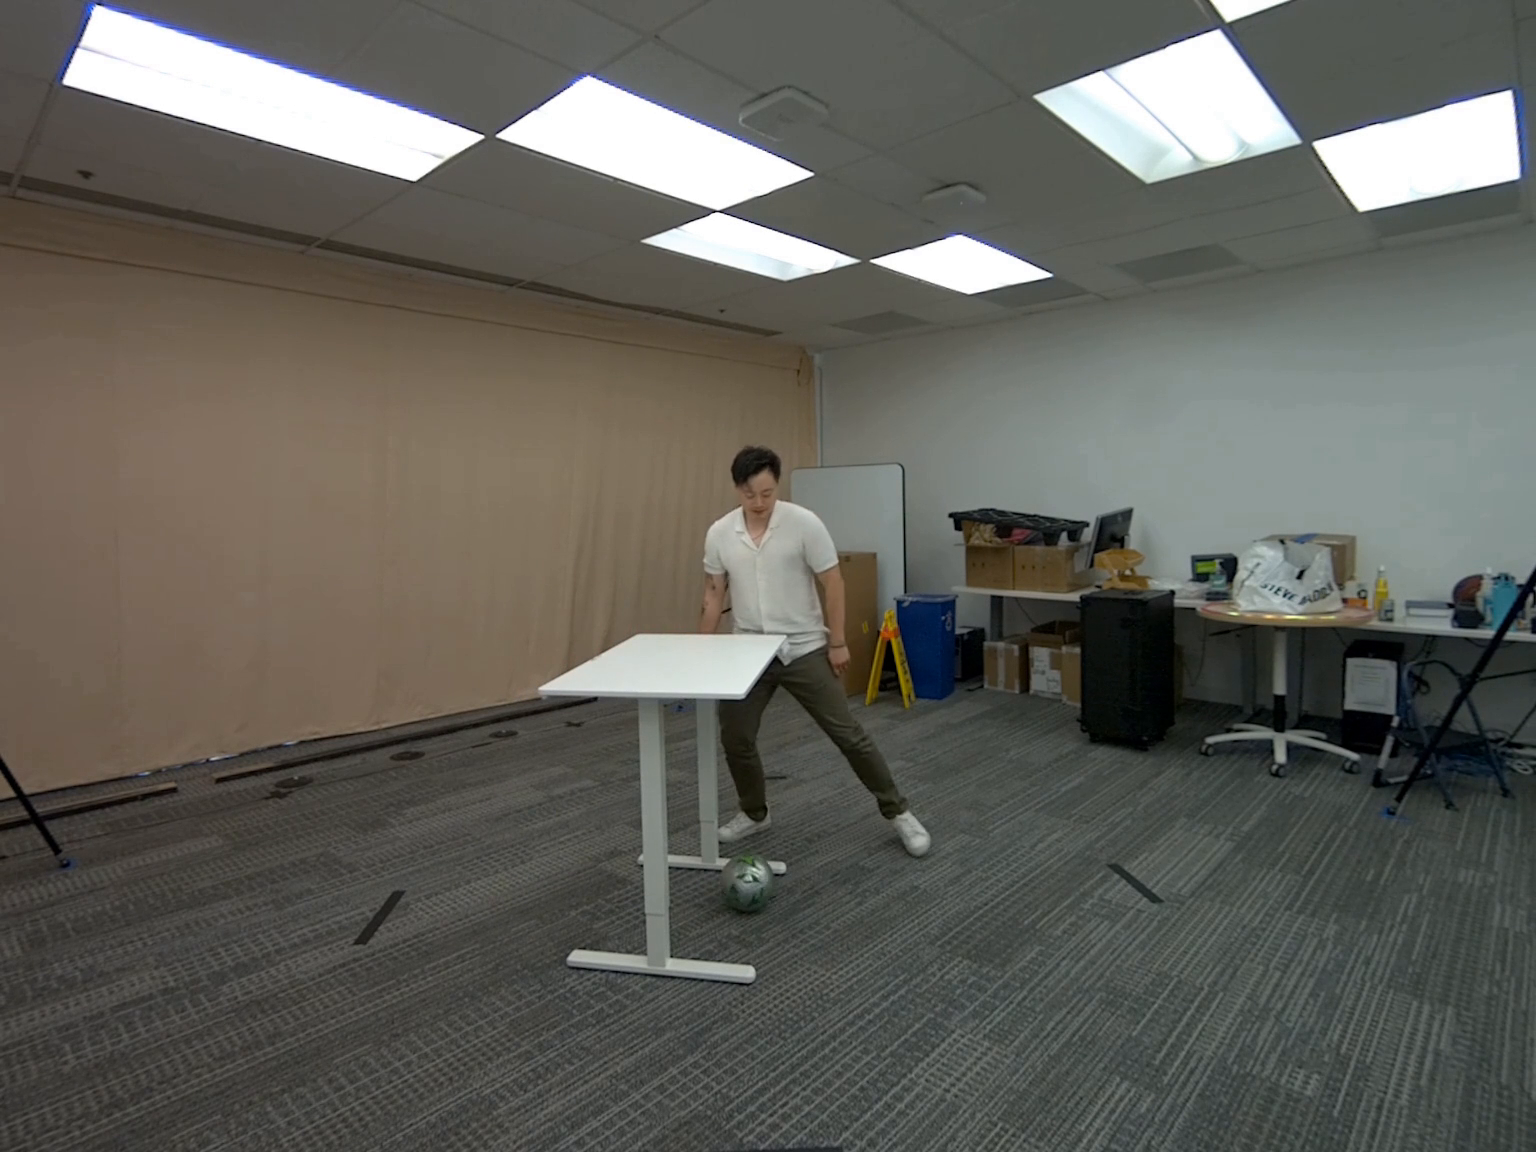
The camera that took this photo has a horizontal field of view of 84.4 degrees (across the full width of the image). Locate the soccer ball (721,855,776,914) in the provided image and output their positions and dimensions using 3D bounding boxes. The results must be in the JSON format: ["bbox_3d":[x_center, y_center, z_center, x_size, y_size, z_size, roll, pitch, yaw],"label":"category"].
[{"bbox_3d":[-0.075,1.045,2.901,0.187,0.187,0.188,-1,4,-2],"label":"soccer ball"}]
